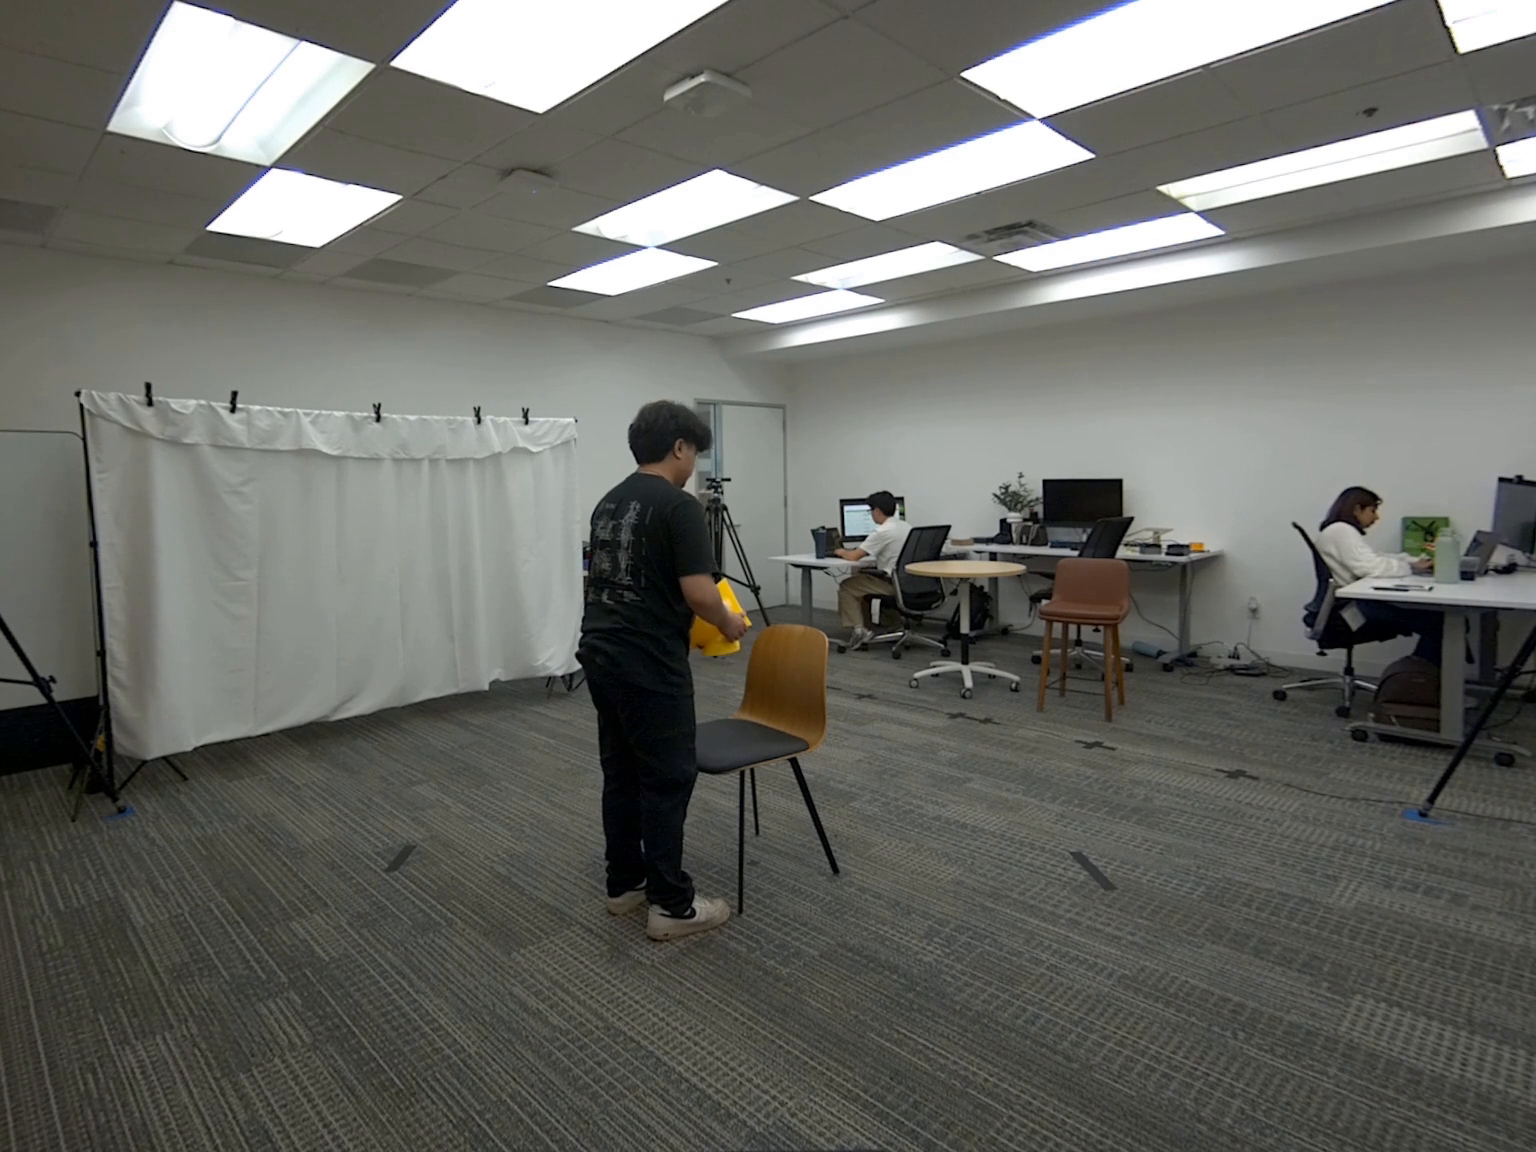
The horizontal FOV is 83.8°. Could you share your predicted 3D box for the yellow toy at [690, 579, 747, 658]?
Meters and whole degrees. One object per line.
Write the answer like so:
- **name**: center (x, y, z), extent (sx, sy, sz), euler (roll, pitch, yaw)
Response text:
- **yellow toy**: center (-0.196, 0.133, 2.917), extent (0.189, 0.228, 0.211), euler (-12, 14, -36)
